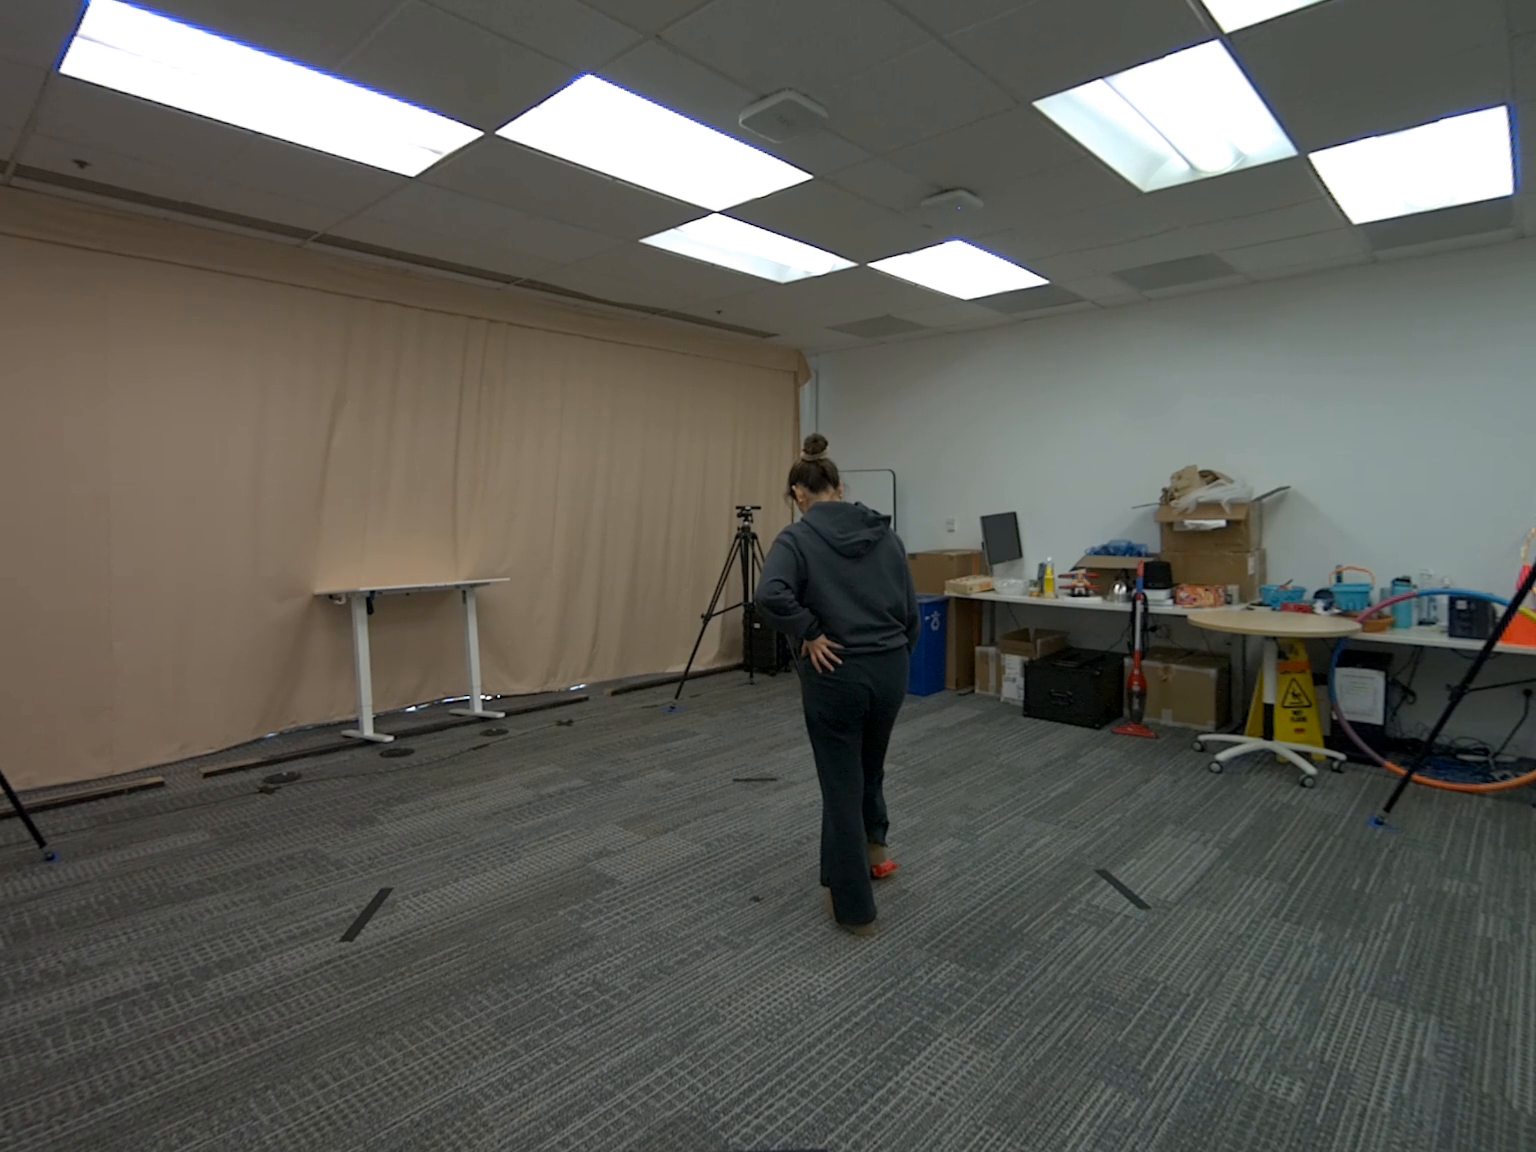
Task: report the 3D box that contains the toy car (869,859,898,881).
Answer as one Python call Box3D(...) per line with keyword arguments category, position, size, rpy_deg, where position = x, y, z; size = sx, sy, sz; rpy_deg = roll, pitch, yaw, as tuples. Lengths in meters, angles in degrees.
Box3D(category="toy car", position=(0.410, 1.083, 3.200), size=(0.126, 0.083, 0.261), rpy_deg=(-6, -4, -42))
